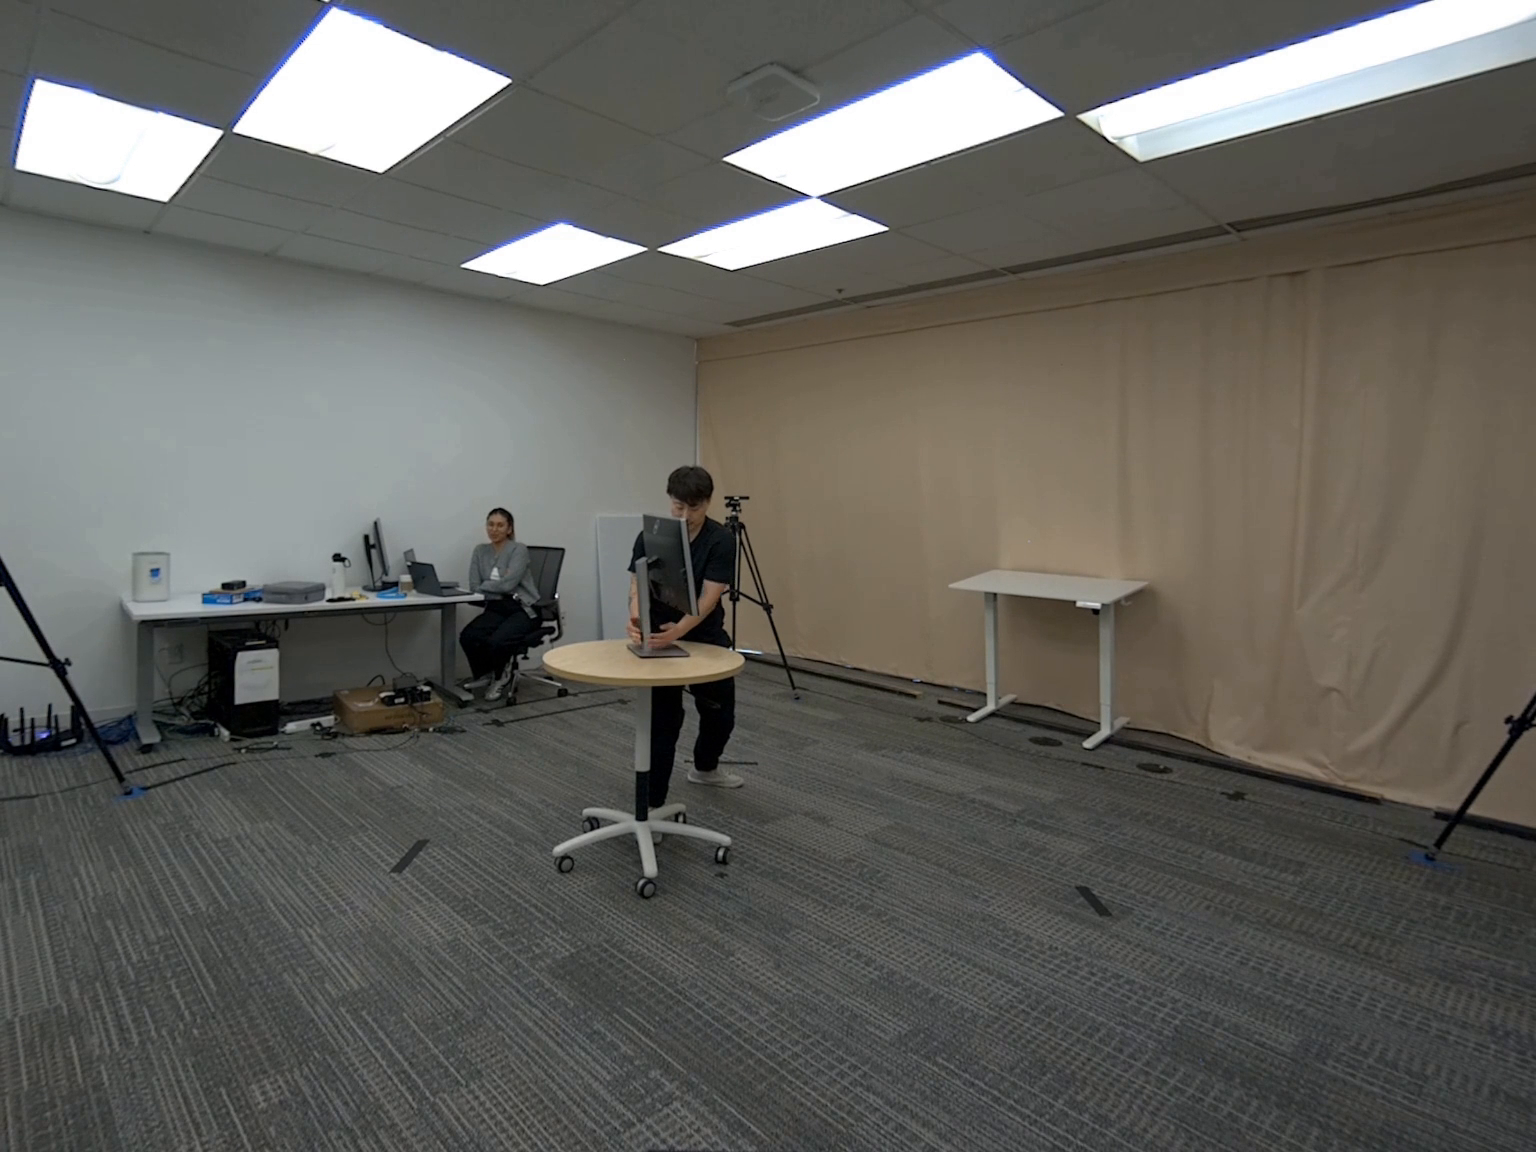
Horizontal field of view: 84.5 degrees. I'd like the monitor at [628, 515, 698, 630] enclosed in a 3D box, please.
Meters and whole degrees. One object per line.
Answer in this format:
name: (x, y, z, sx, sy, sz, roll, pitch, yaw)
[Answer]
monitor: (-0.440, 0.037, 3.303, 0.184, 0.521, 0.550, 2, 5, -23)
